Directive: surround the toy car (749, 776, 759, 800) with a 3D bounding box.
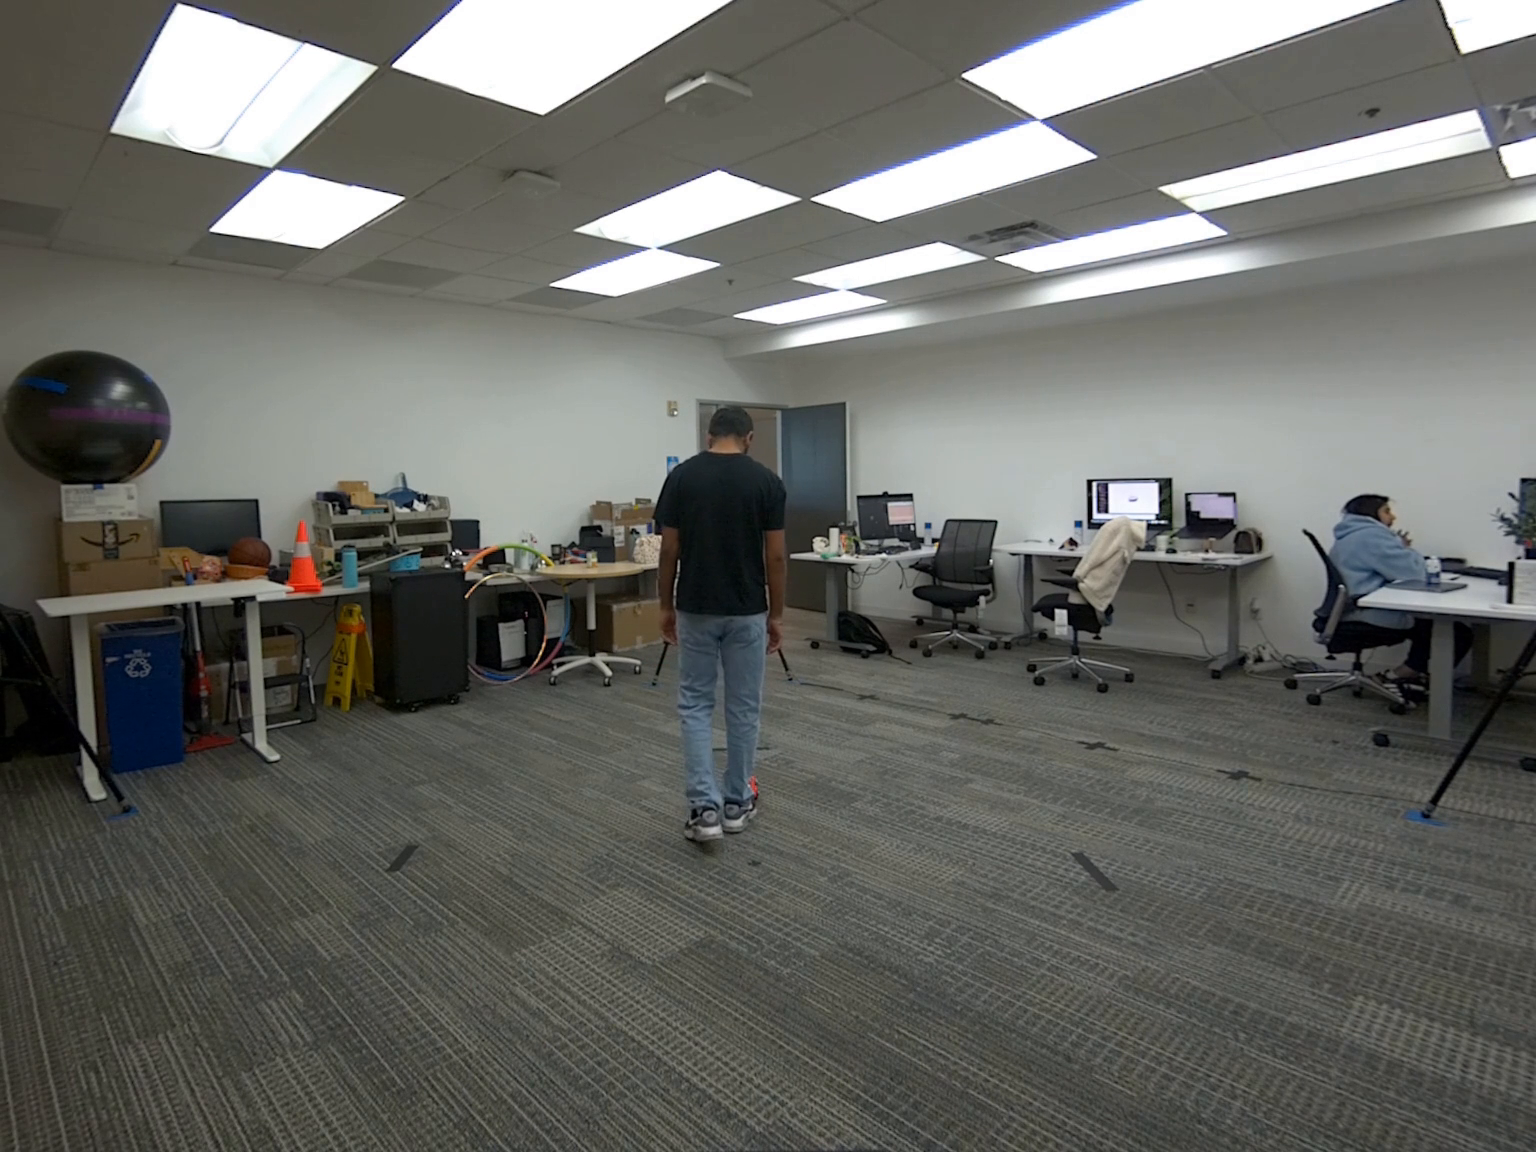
[{"bbox_3d":[-0.092,0.937,3.781,0.130,0.084,0.253,-1,-6,-1],"label":"toy car"}]
